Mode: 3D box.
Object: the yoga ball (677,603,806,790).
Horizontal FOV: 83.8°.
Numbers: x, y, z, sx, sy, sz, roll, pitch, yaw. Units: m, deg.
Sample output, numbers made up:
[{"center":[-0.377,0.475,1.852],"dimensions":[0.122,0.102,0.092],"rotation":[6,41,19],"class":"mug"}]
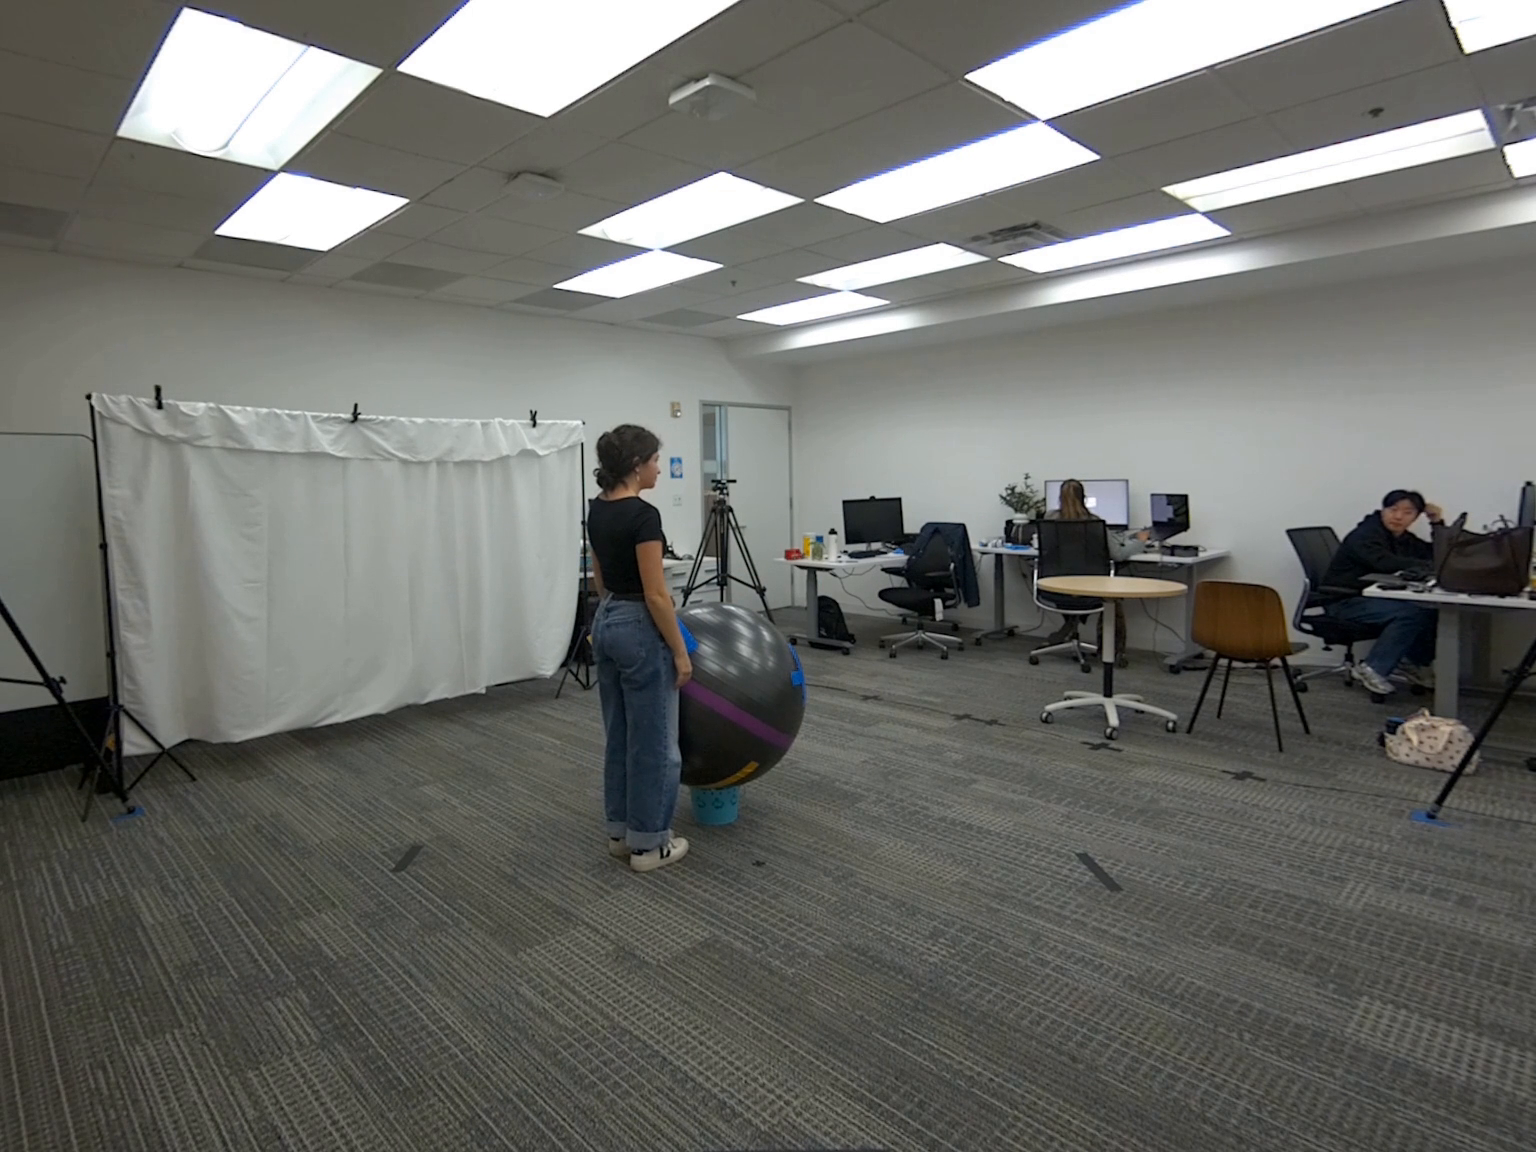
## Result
[{"center":[-0.226,0.490,3.559],"dimensions":[0.757,0.755,0.762],"rotation":[-1,5,-2],"class":"yoga ball"}]
